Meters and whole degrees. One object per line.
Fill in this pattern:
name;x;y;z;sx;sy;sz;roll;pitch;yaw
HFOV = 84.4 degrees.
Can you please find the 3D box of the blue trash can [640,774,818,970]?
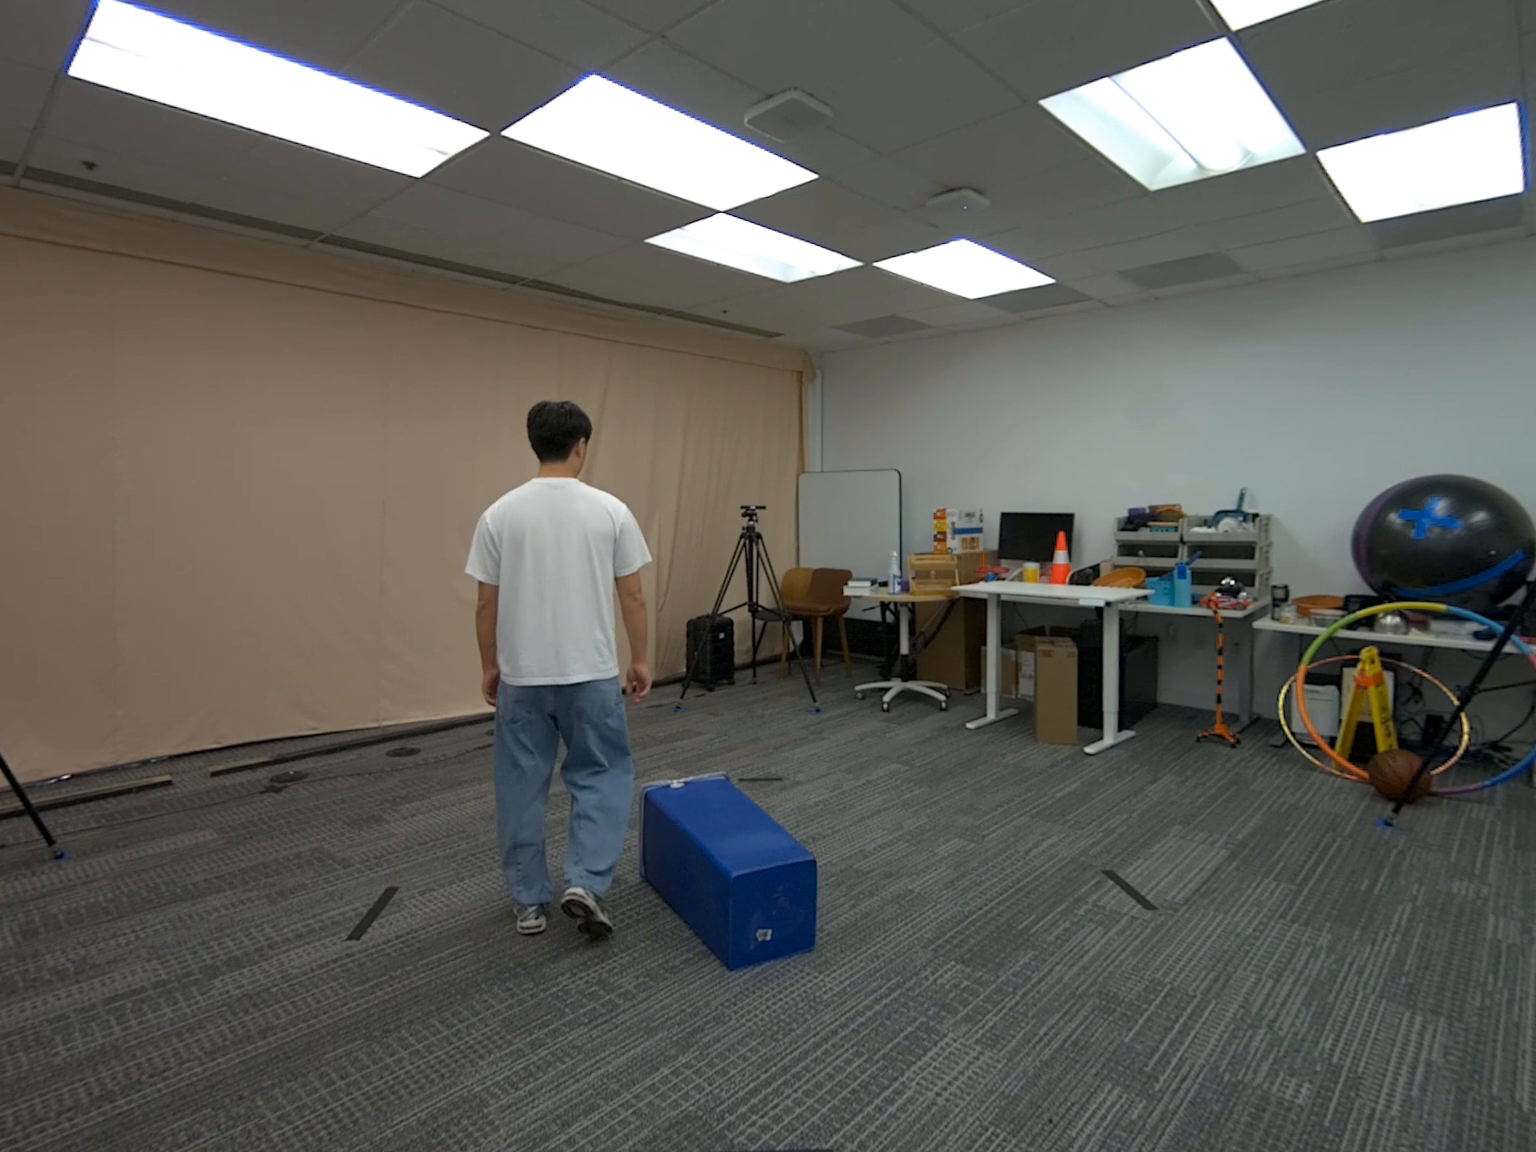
blue trash can;-0.140;0.991;2.879;0.364;0.377;0.734;-2;7;-28
